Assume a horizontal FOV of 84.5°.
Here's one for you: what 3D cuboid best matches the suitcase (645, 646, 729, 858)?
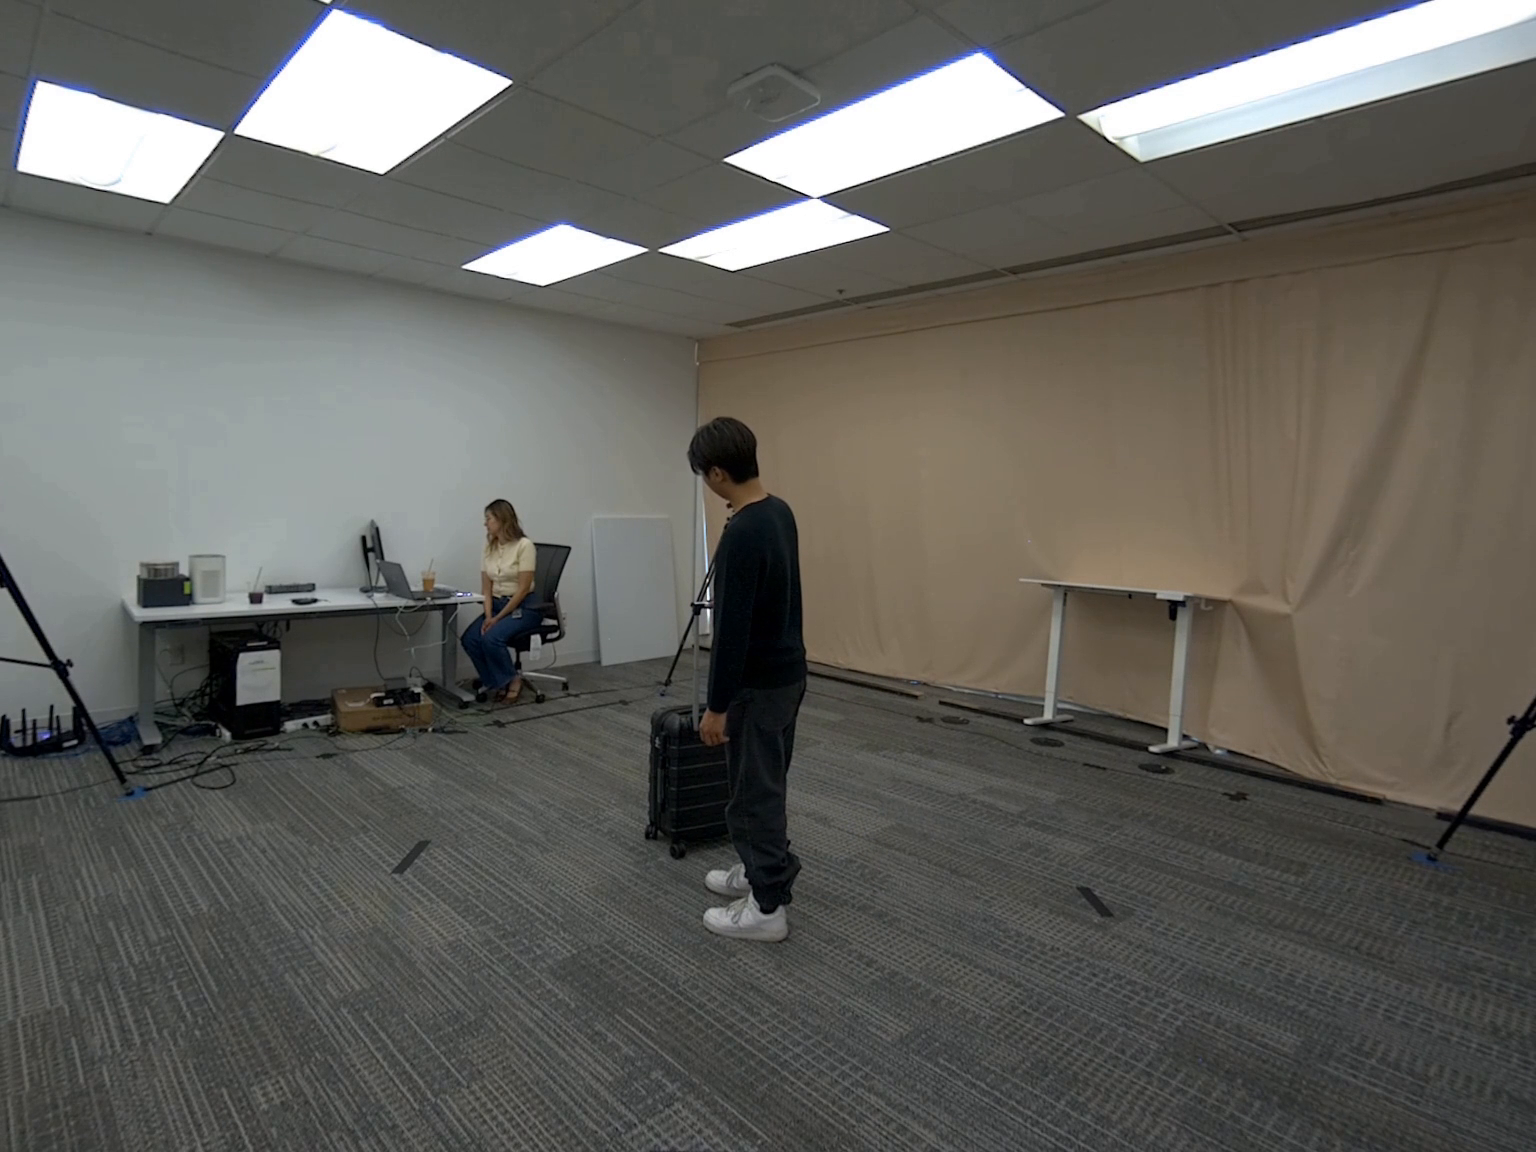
[{"bbox_3d":[-0.298,0.598,3.420,0.376,0.978,0.262,1,0,-30],"label":"suitcase"}]
